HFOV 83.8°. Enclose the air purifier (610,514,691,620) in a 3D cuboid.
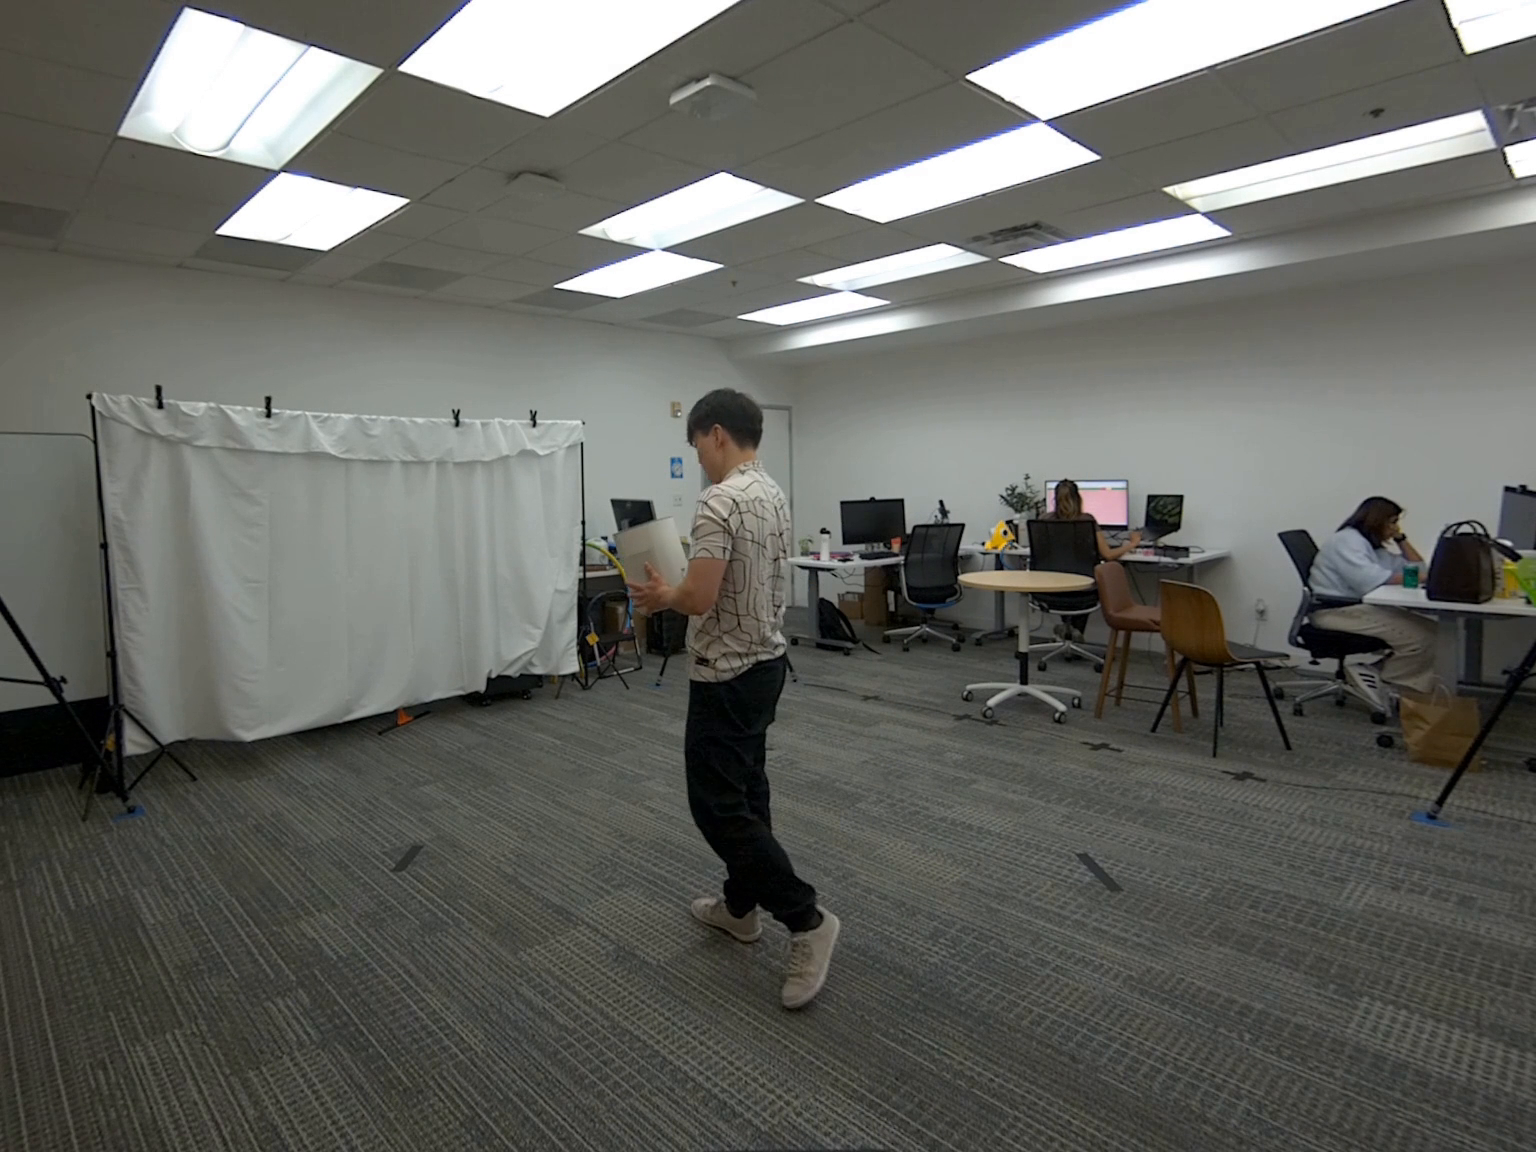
[{"bbox_3d":[-0.332,-0.032,2.618,0.173,0.265,0.169,-15,3,22],"label":"air purifier"}]
